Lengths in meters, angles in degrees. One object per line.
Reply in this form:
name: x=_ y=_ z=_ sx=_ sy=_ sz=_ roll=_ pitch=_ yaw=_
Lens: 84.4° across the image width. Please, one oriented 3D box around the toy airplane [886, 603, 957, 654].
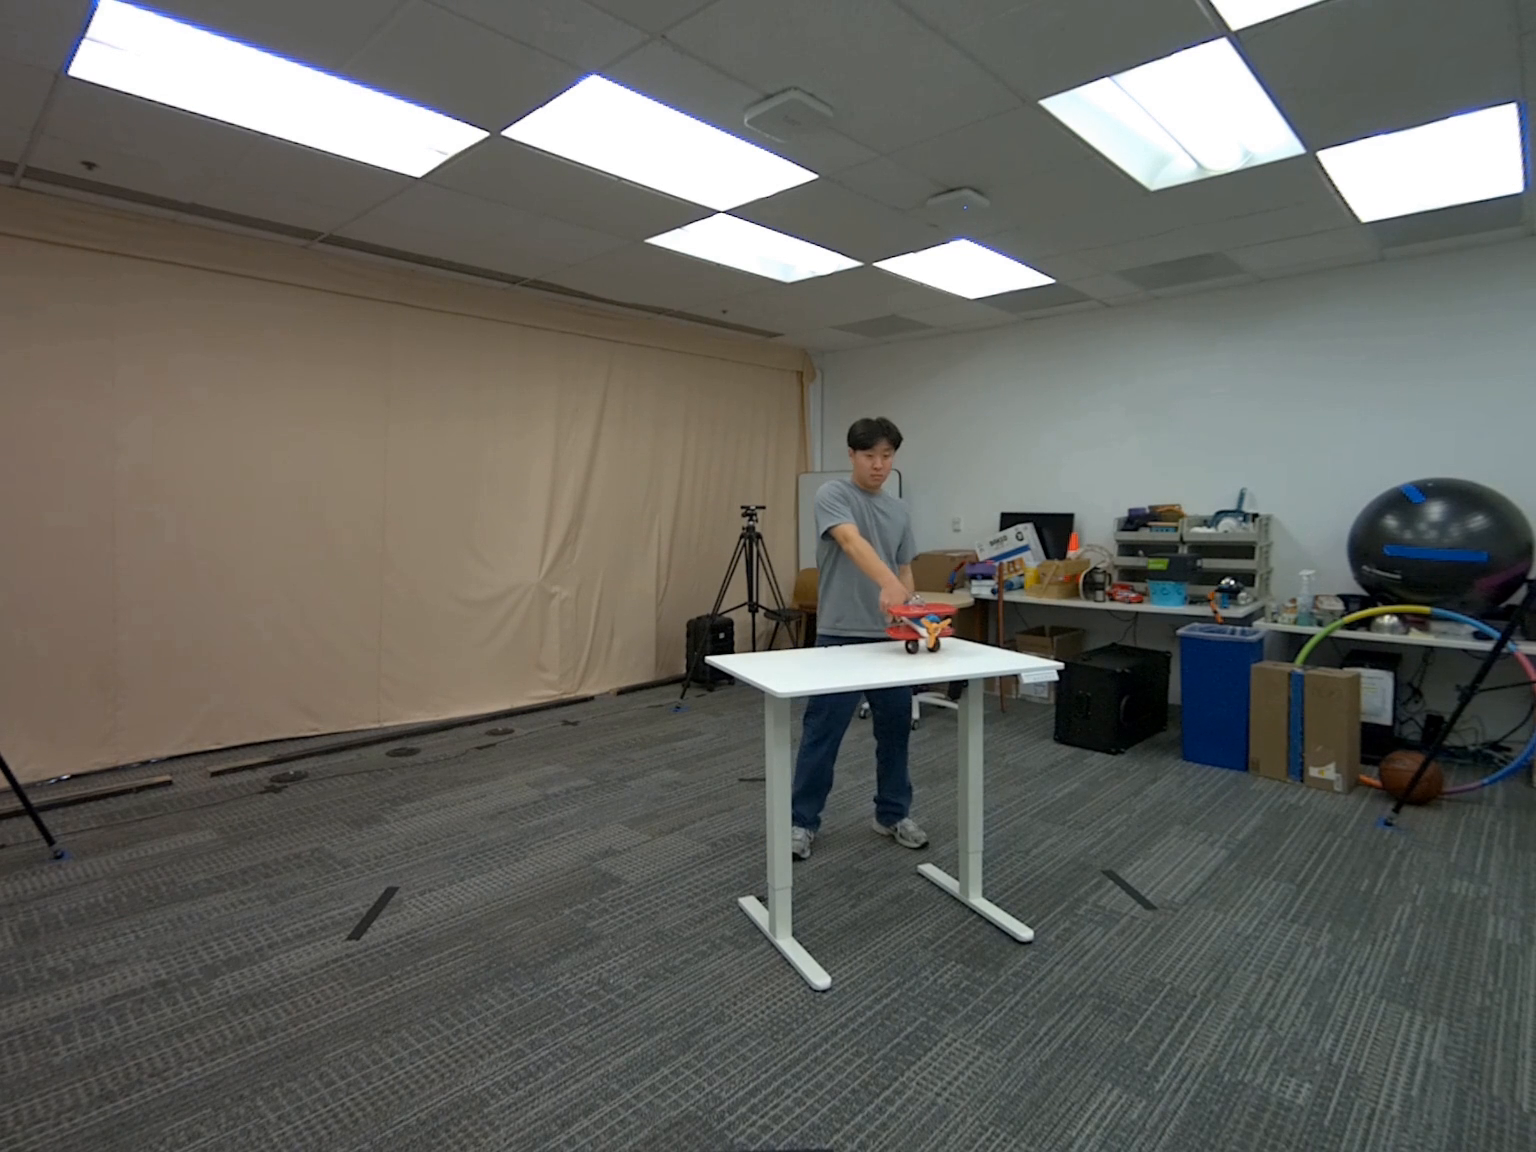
toy airplane: x=0.499 y=0.153 z=2.935 sx=0.268 sy=0.155 sz=0.245 roll=32 pitch=35 yaw=33
